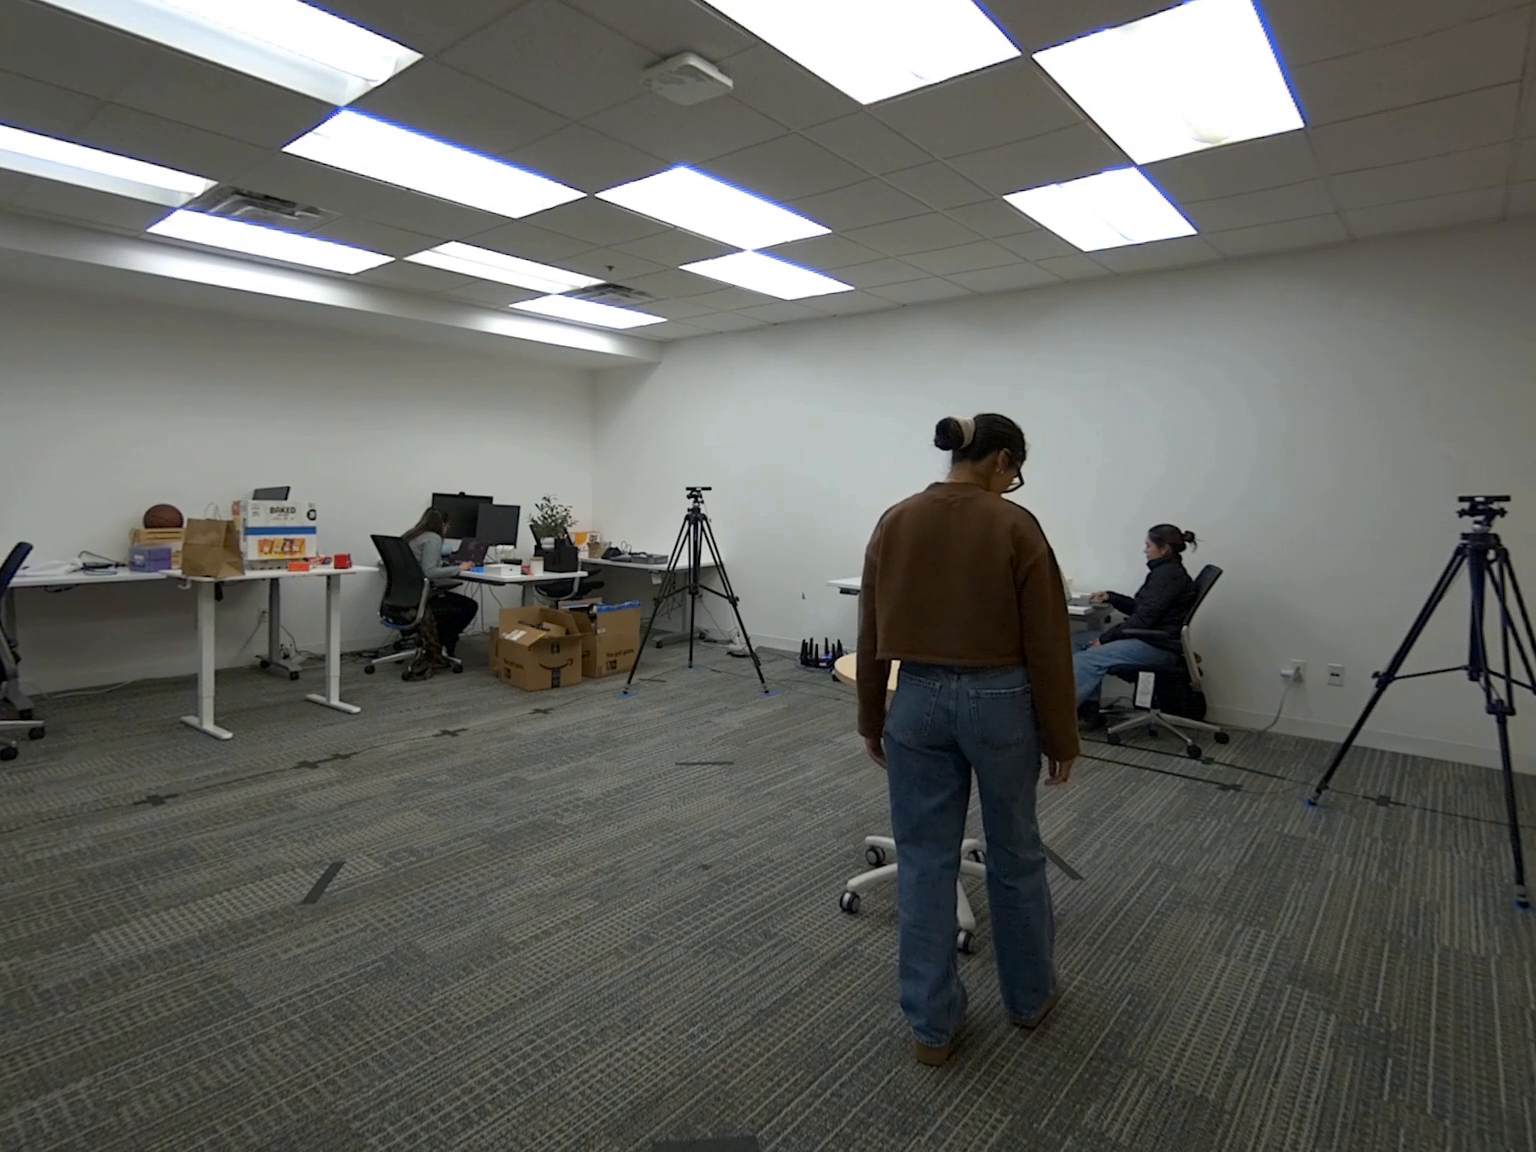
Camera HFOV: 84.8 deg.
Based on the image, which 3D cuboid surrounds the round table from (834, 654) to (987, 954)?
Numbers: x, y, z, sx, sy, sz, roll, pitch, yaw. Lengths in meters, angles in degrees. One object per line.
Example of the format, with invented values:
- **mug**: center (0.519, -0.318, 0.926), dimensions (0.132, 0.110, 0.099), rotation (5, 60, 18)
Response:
- **round table**: center (0.594, 0.710, 2.901), dimensions (0.763, 0.791, 0.768), rotation (2, 5, -2)
